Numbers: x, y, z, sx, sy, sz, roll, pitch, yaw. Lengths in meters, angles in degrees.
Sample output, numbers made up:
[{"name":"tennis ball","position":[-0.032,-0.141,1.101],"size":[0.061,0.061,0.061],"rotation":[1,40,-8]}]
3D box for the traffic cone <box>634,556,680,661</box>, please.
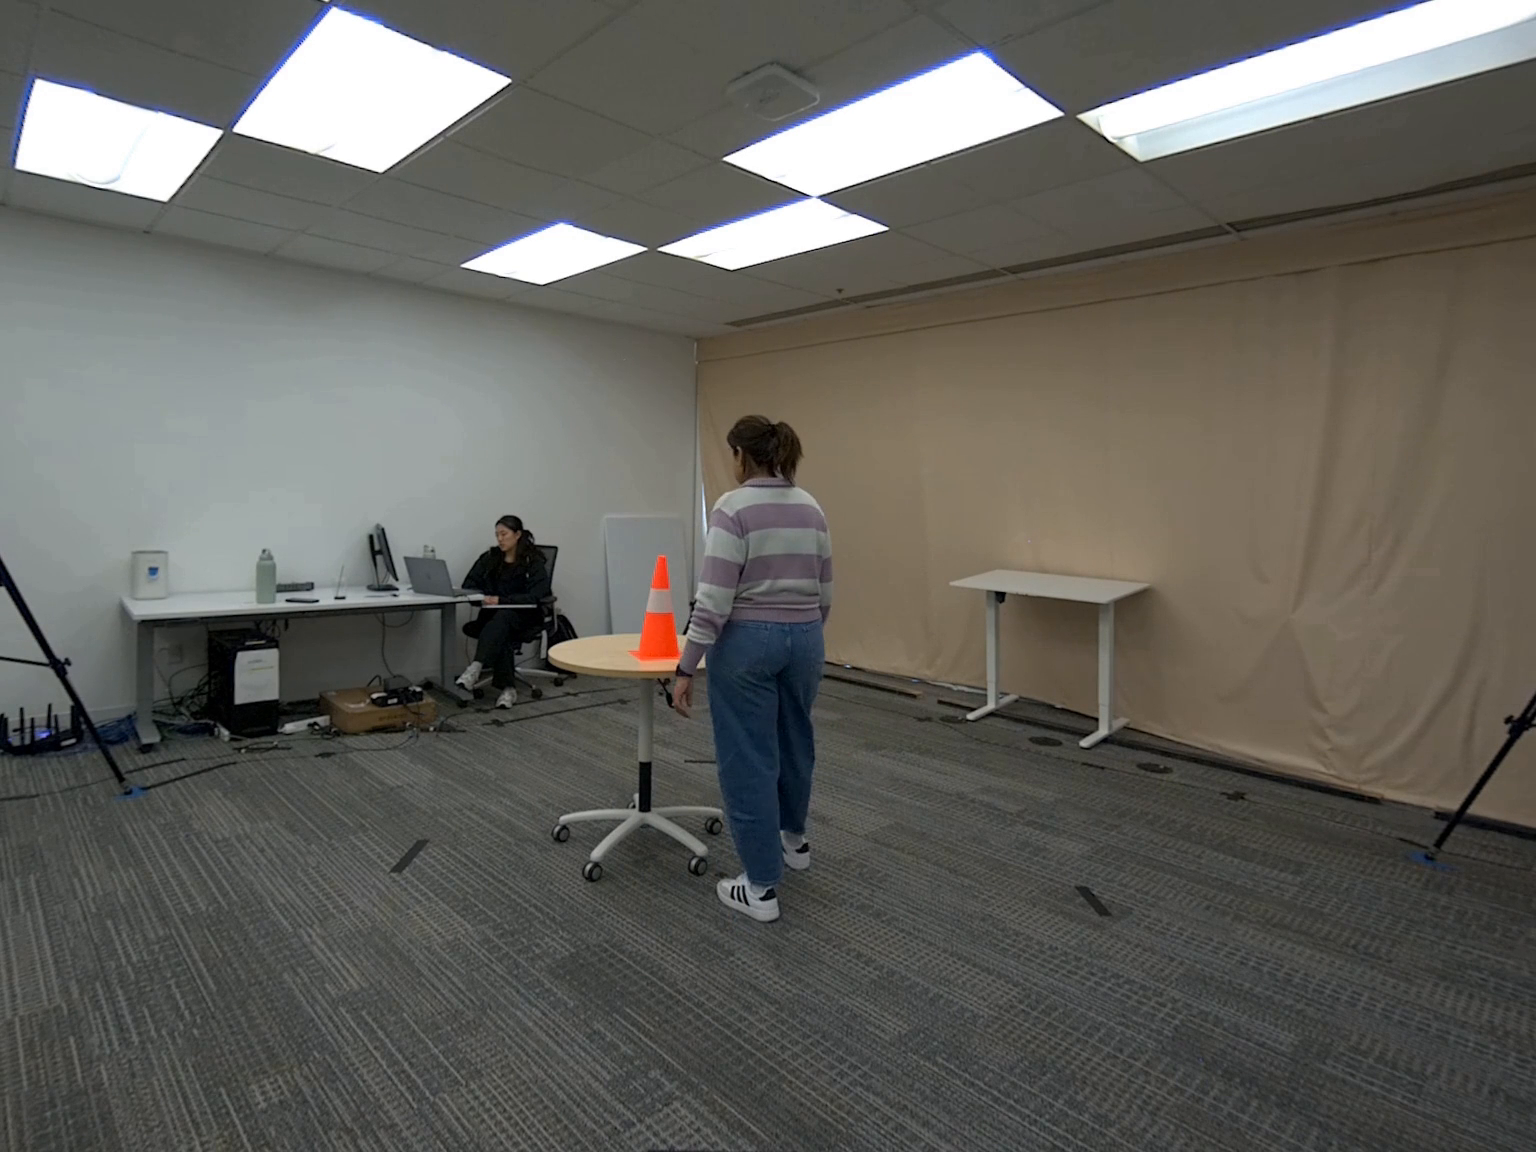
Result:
[{"name":"traffic cone","position":[-0.423,0.116,3.224],"size":[0.199,0.383,0.209],"rotation":[2,2,-30]}]
